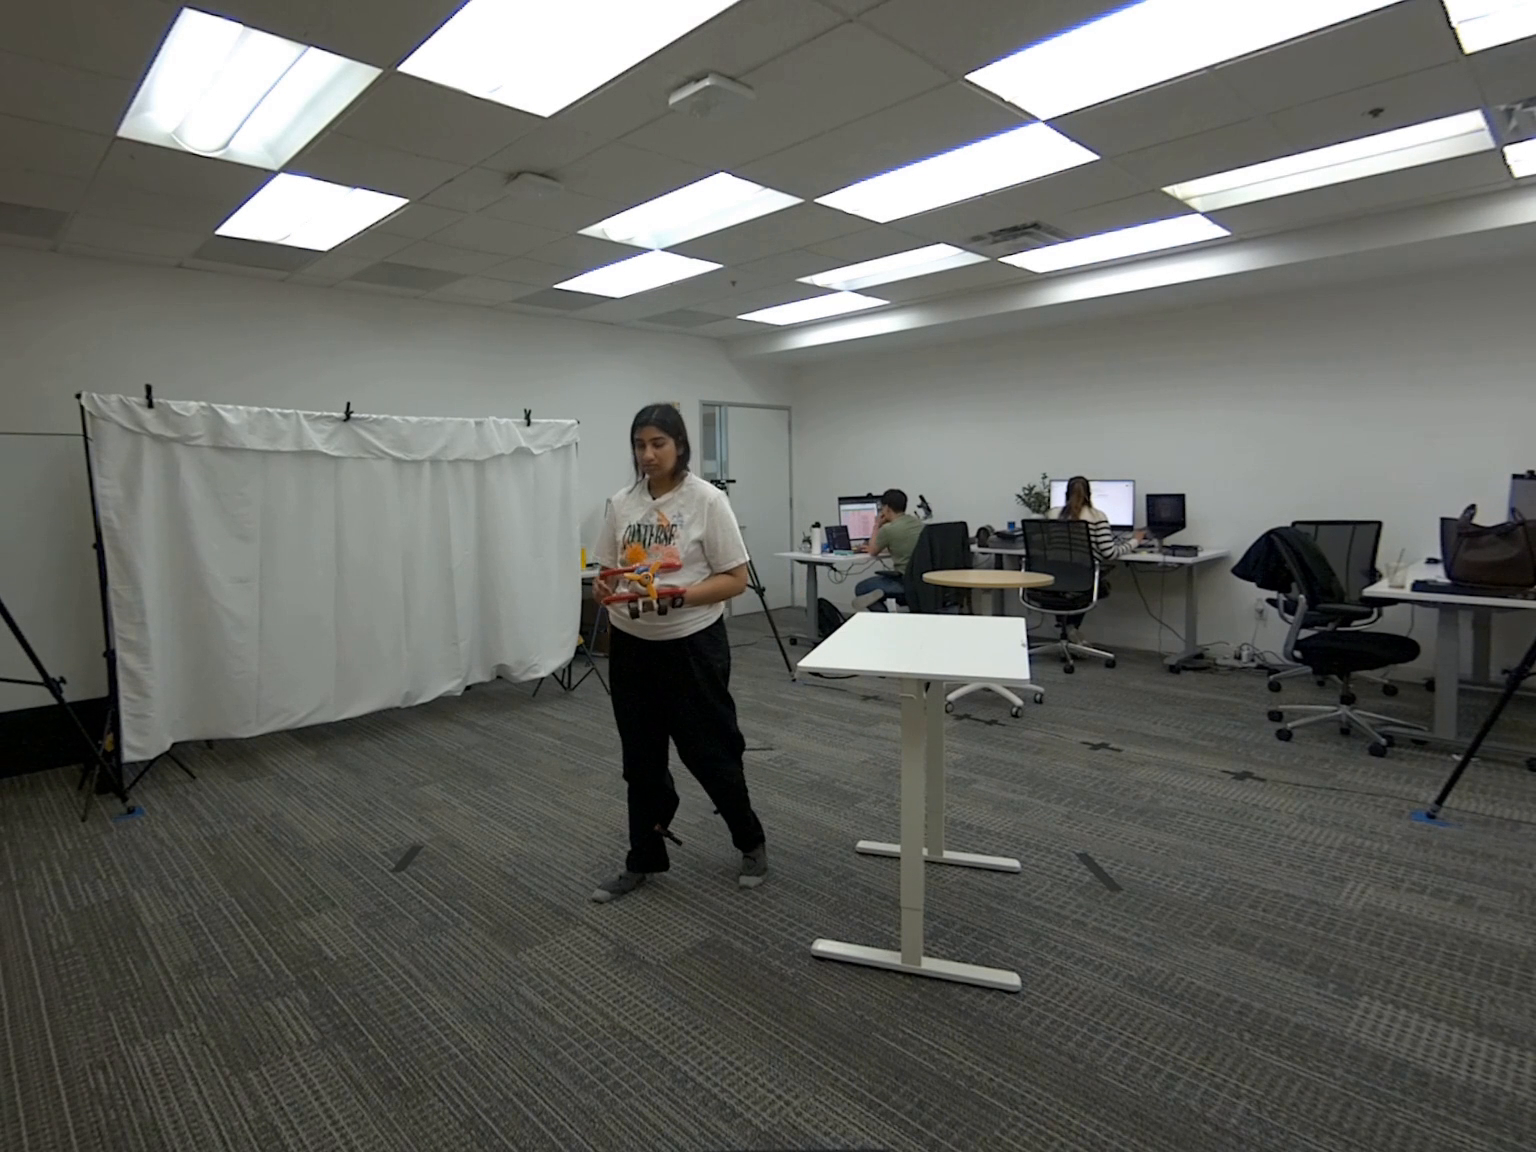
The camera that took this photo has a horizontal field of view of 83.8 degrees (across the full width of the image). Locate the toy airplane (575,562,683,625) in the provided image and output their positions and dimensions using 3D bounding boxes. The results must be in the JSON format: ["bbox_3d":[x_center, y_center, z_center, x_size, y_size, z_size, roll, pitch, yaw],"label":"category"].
[{"bbox_3d":[-0.399,0.048,2.596,0.266,0.156,0.245,-2,4,44],"label":"toy airplane"}]
